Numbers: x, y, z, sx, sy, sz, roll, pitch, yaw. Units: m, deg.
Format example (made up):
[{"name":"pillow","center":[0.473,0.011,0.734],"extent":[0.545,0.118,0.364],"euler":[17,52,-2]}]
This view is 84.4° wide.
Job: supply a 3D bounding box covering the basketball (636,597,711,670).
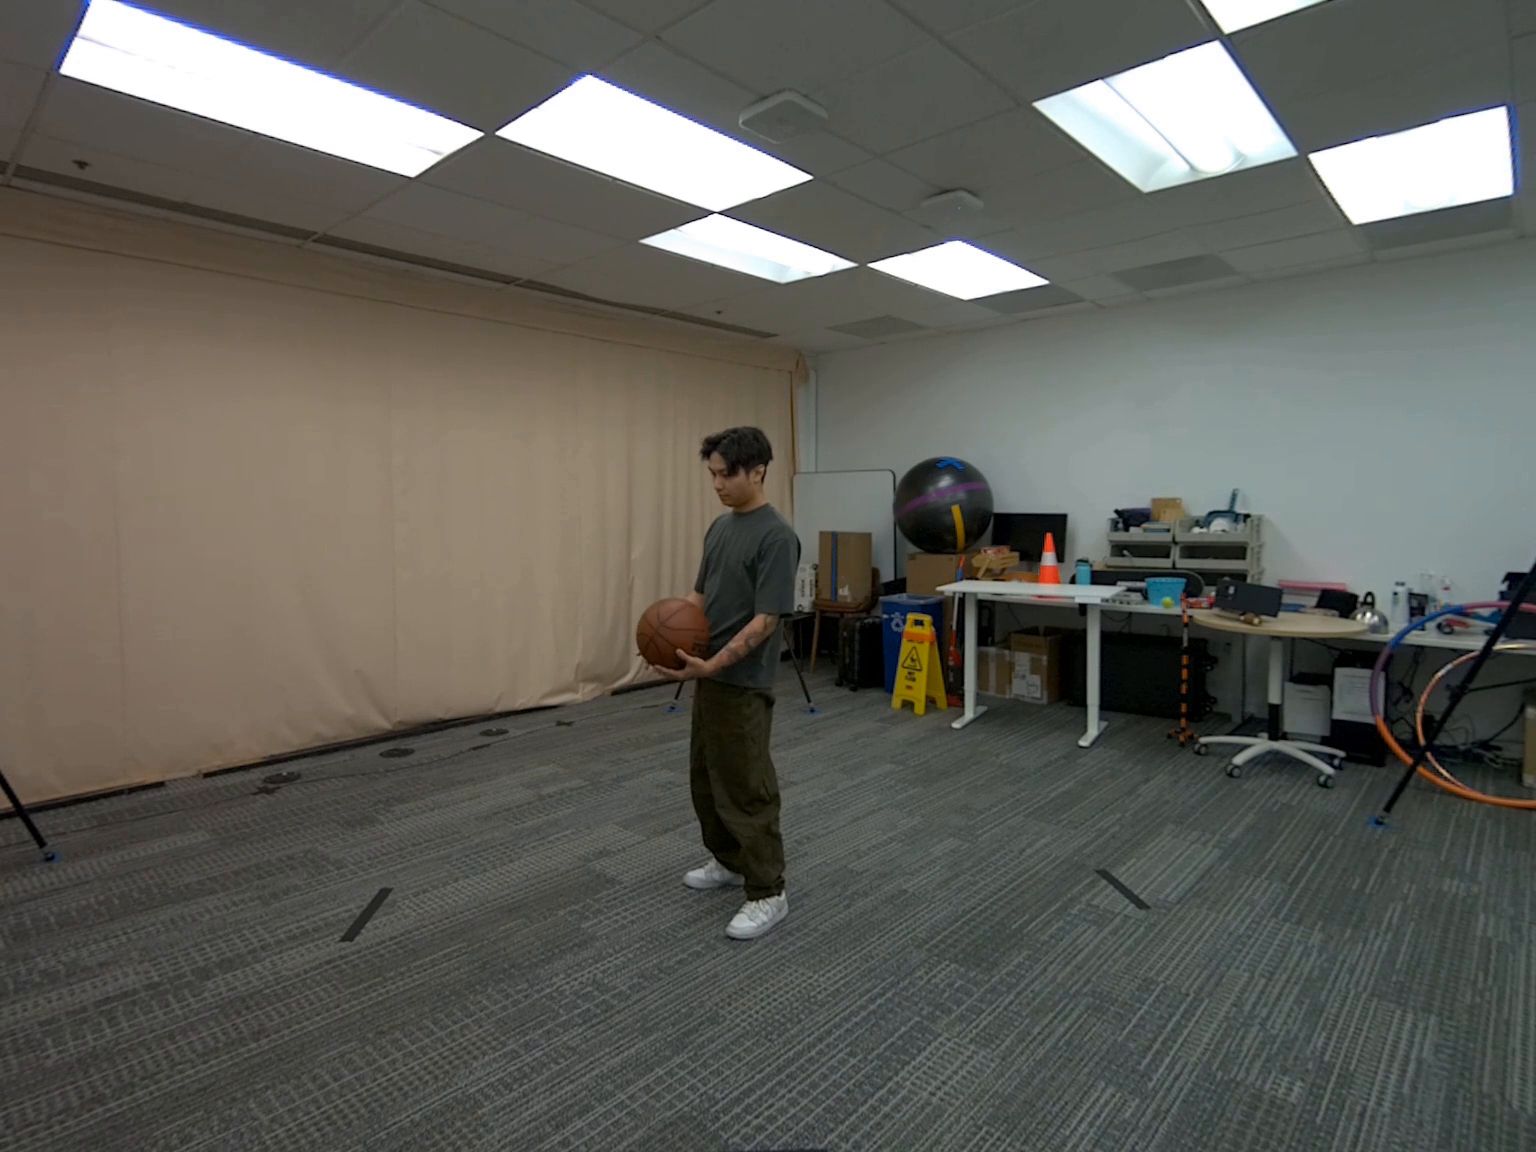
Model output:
[{"name":"basketball","center":[-0.292,0.195,2.712],"extent":[0.236,0.235,0.237],"euler":[0,4,-2]}]
